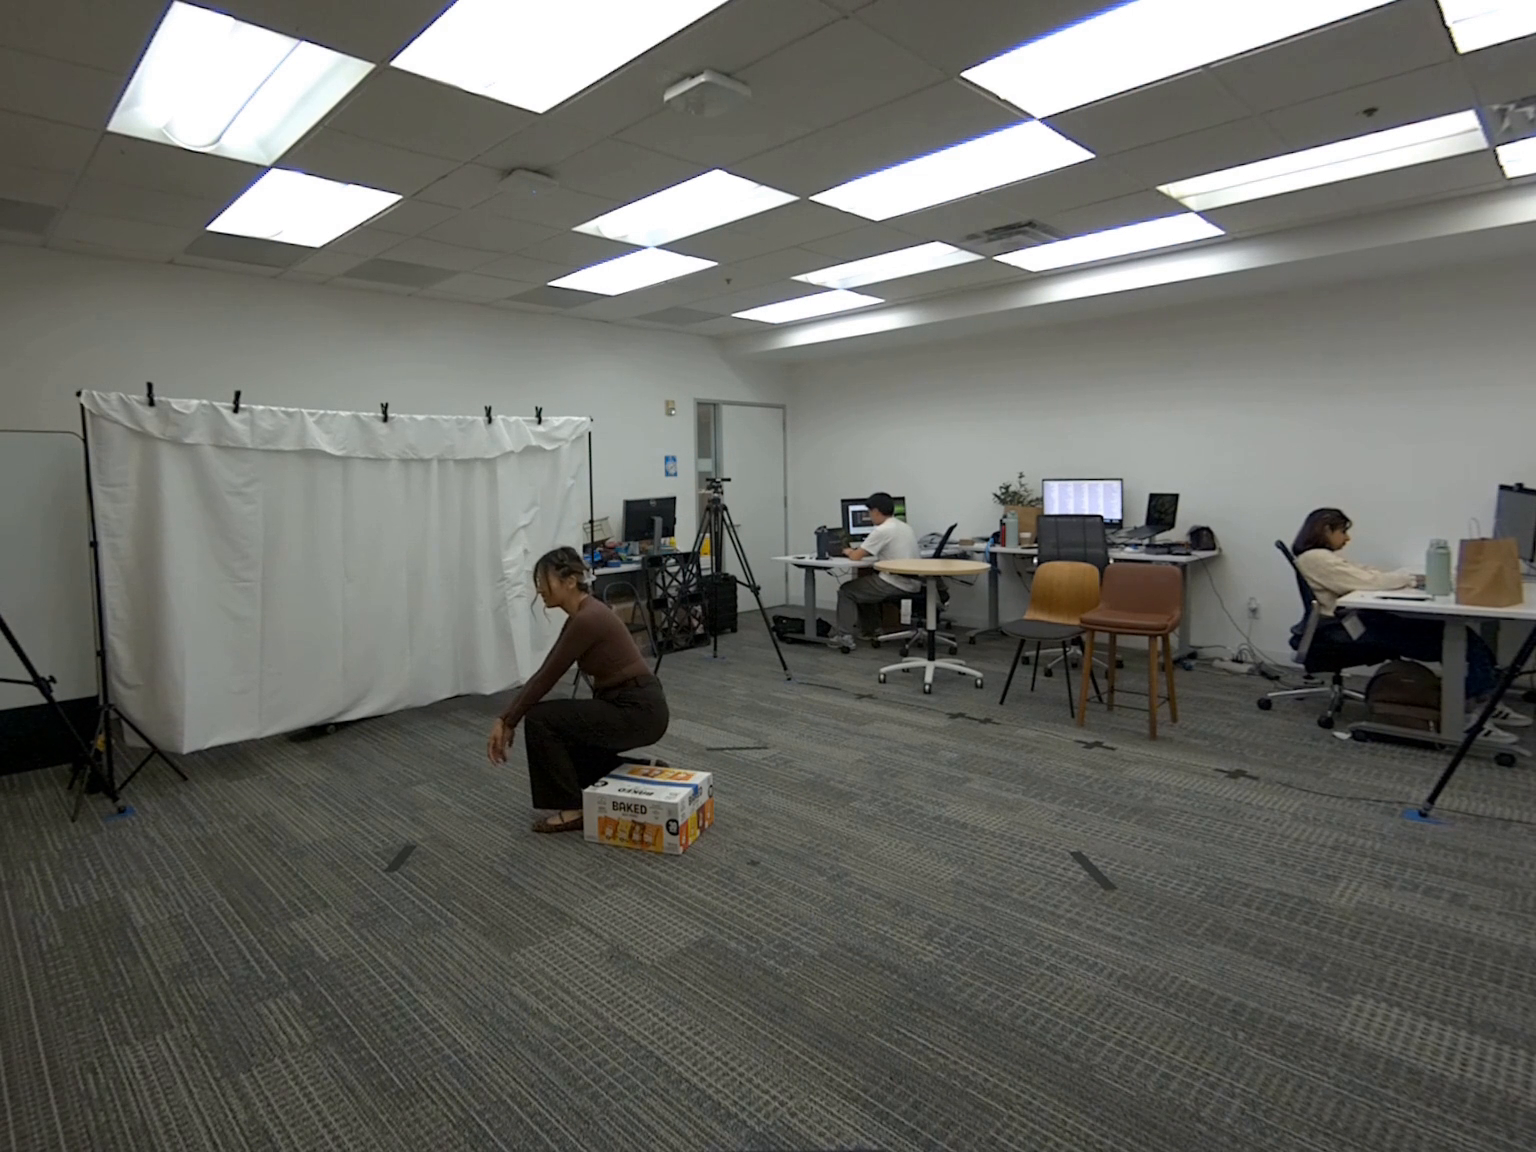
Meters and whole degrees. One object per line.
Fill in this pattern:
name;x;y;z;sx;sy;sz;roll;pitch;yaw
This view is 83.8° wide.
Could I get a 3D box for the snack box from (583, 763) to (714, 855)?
snack box;-0.469;0.914;3.389;0.413;0.205;0.335;1;6;20
